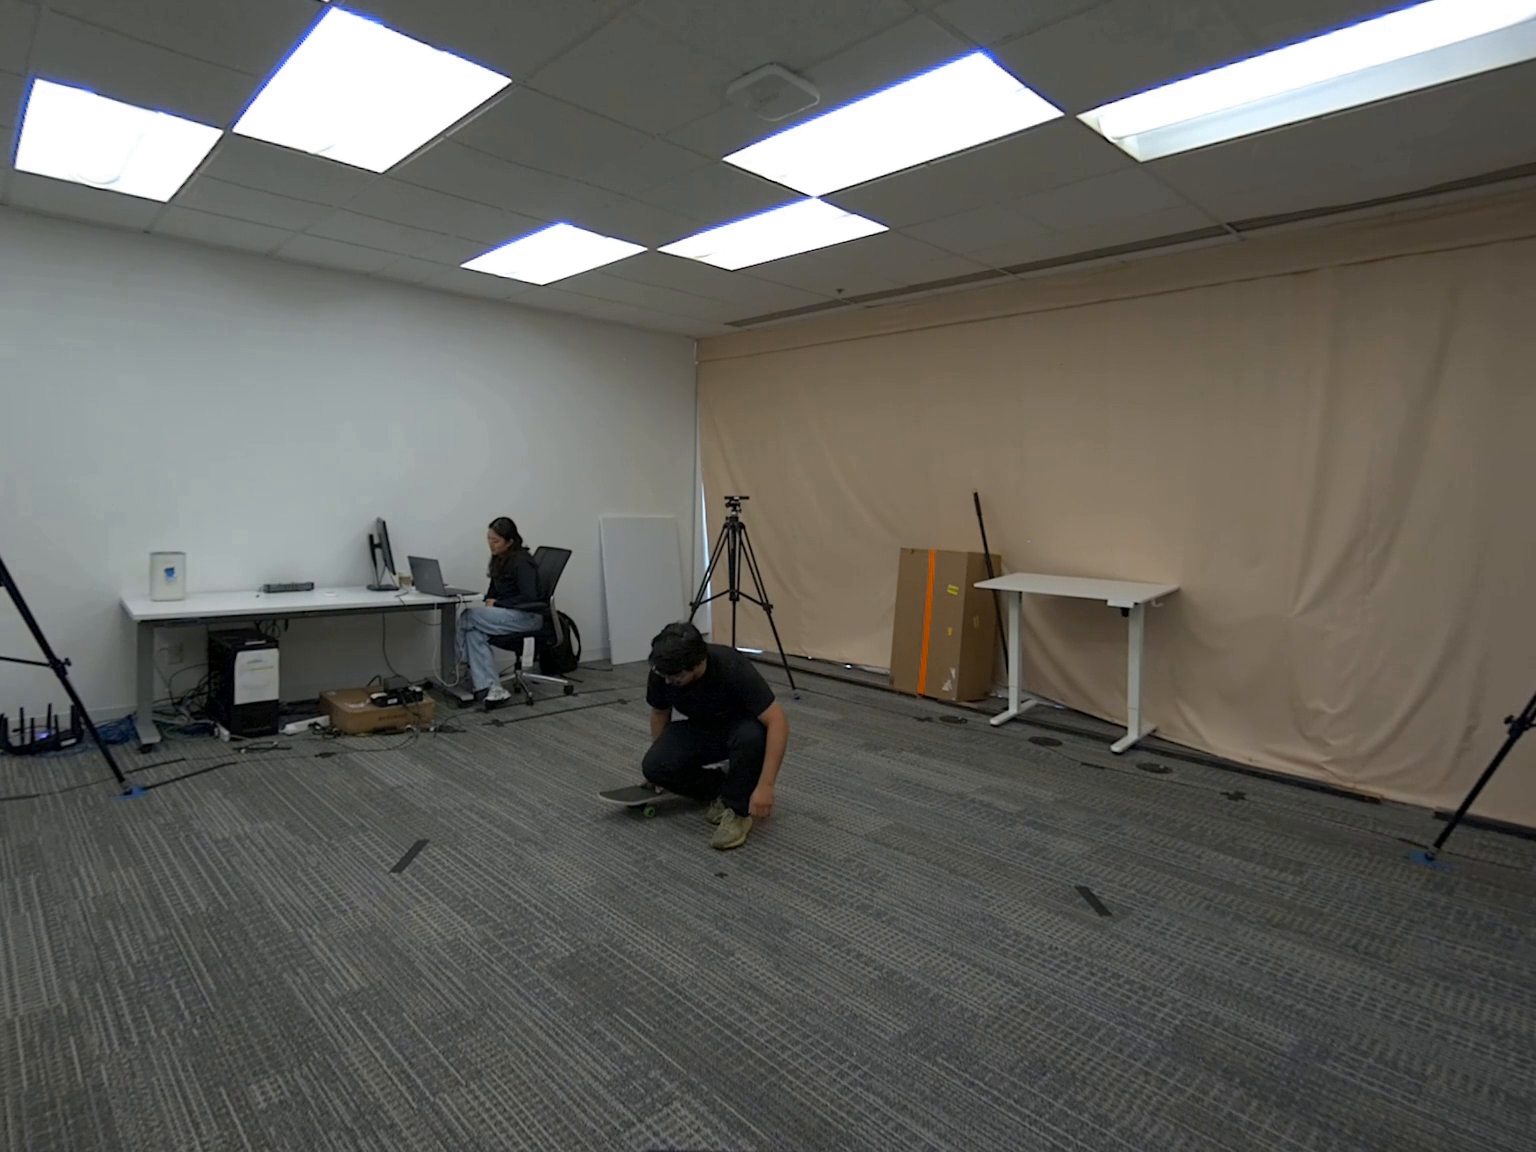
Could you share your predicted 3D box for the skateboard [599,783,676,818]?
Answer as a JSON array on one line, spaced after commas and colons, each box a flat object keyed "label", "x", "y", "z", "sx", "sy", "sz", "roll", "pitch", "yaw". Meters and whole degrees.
[{"label": "skateboard", "x": -0.420, "y": 0.980, "z": 3.829, "sx": 0.767, "sy": 0.110, "sz": 0.198, "roll": -2, "pitch": 4, "yaw": -40}]
